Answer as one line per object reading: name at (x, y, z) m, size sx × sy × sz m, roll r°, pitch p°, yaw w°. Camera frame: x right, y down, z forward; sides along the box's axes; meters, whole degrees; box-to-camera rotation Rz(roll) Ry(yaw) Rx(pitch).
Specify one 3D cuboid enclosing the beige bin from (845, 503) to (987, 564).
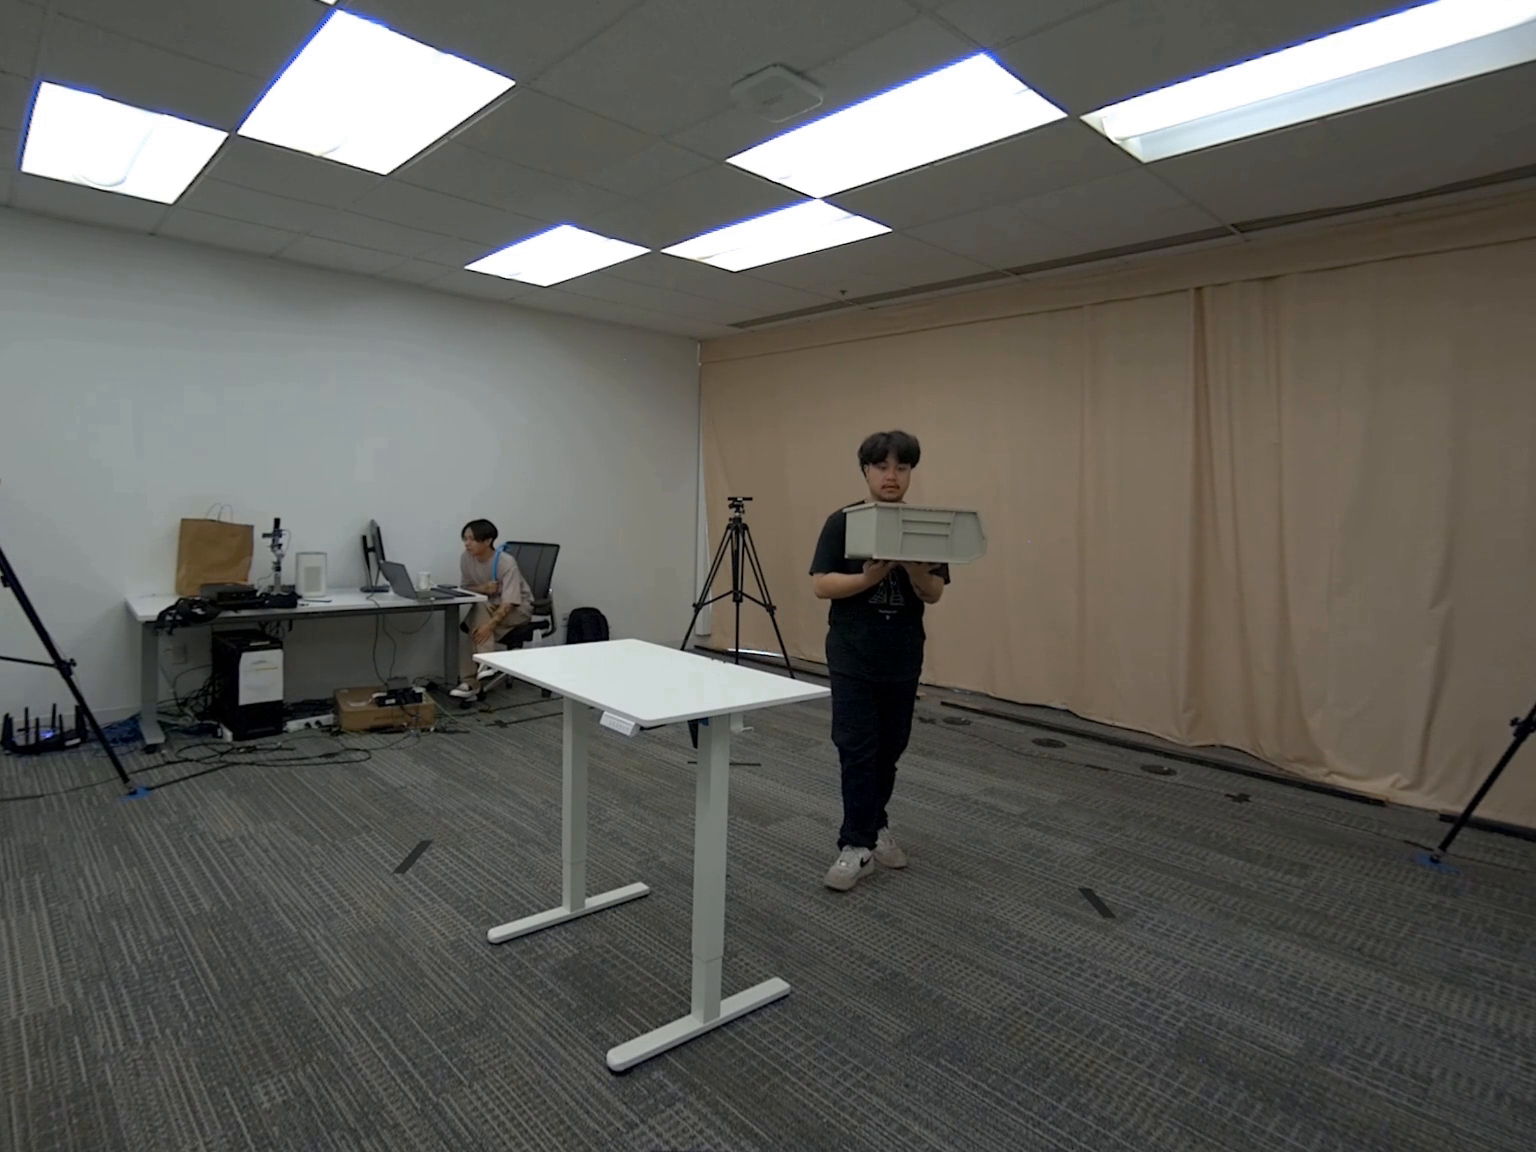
beige bin at (0.481, -0.135, 2.868) m, size 0.376 × 0.189 × 0.424 m, roll 4°, pitch 2°, yaw -5°
